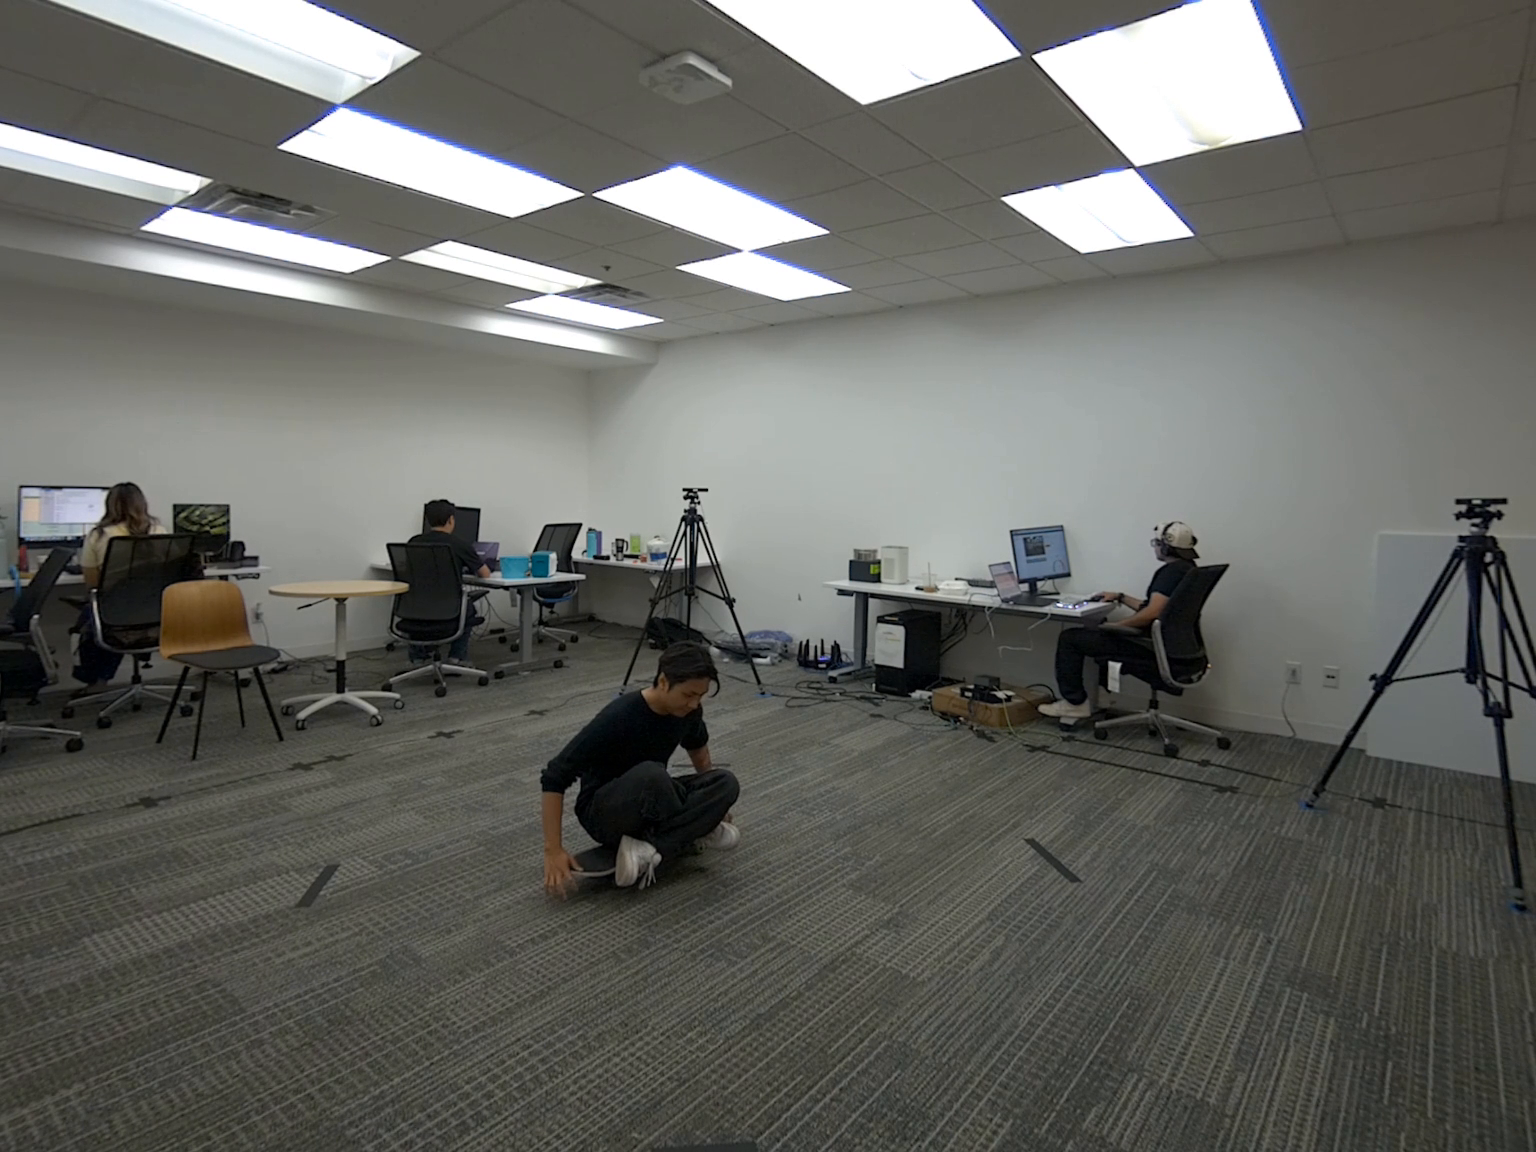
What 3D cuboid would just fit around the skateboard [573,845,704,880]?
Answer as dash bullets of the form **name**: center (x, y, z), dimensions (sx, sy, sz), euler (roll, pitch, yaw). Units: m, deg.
- **skateboard**: center (-0.446, 1.013, 3.138), dimensions (0.200, 0.110, 0.764), euler (5, 8, 35)
